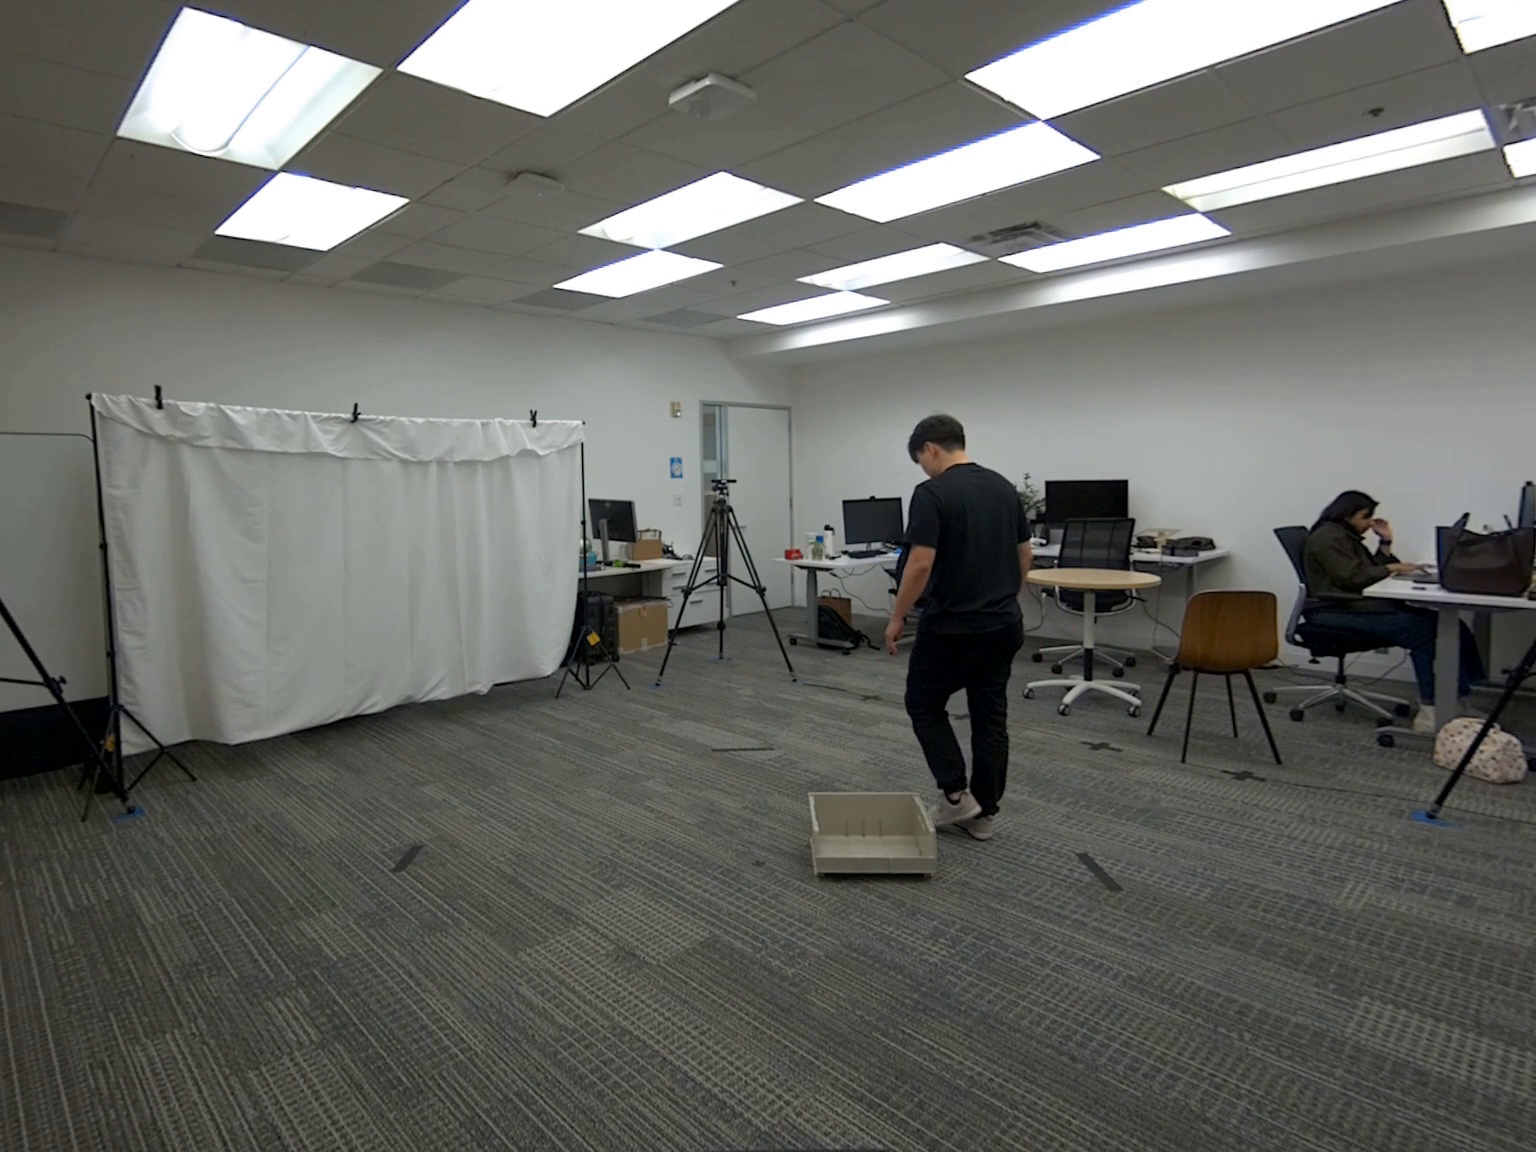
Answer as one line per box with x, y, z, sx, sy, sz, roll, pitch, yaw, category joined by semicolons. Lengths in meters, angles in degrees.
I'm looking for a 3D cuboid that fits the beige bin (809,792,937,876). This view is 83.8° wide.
0.373;0.951;3.124;0.423;0.188;0.378;-2;5;1;beige bin
